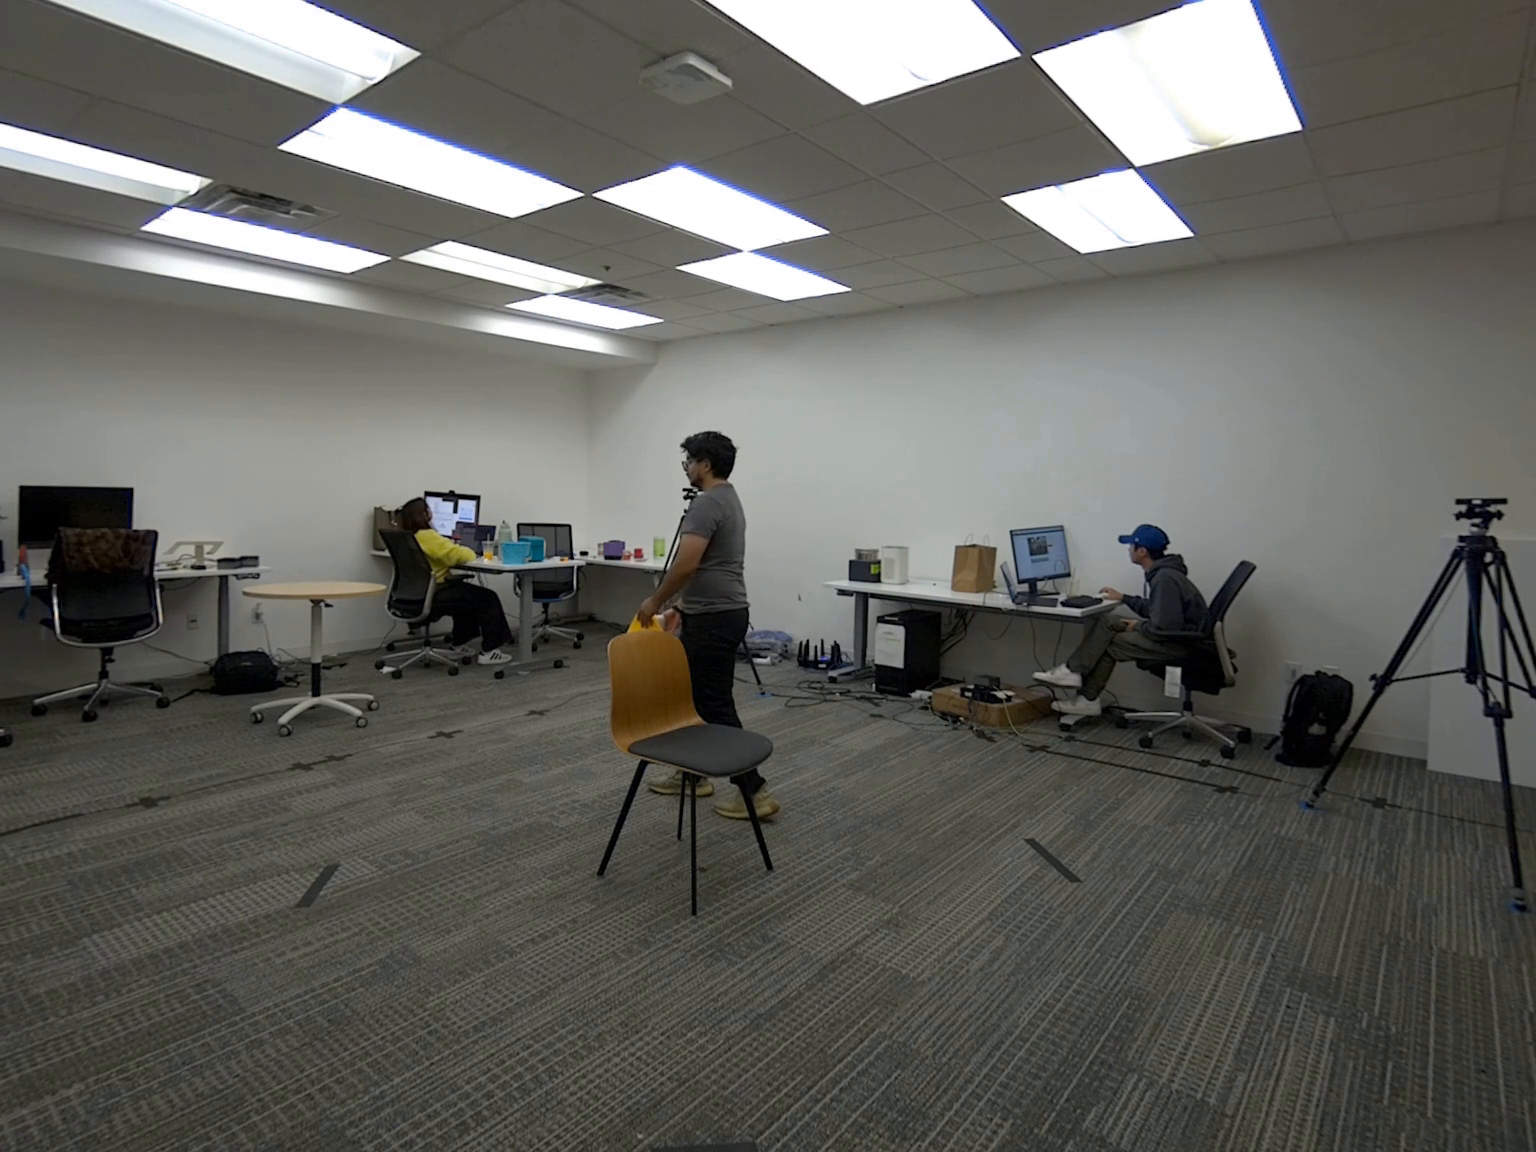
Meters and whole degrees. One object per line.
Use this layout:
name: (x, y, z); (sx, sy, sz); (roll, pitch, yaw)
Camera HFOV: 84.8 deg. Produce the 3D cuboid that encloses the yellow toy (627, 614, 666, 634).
yellow toy: (-0.521, 0.219, 3.807); (0.210, 0.226, 0.192); (1, 20, 25)
